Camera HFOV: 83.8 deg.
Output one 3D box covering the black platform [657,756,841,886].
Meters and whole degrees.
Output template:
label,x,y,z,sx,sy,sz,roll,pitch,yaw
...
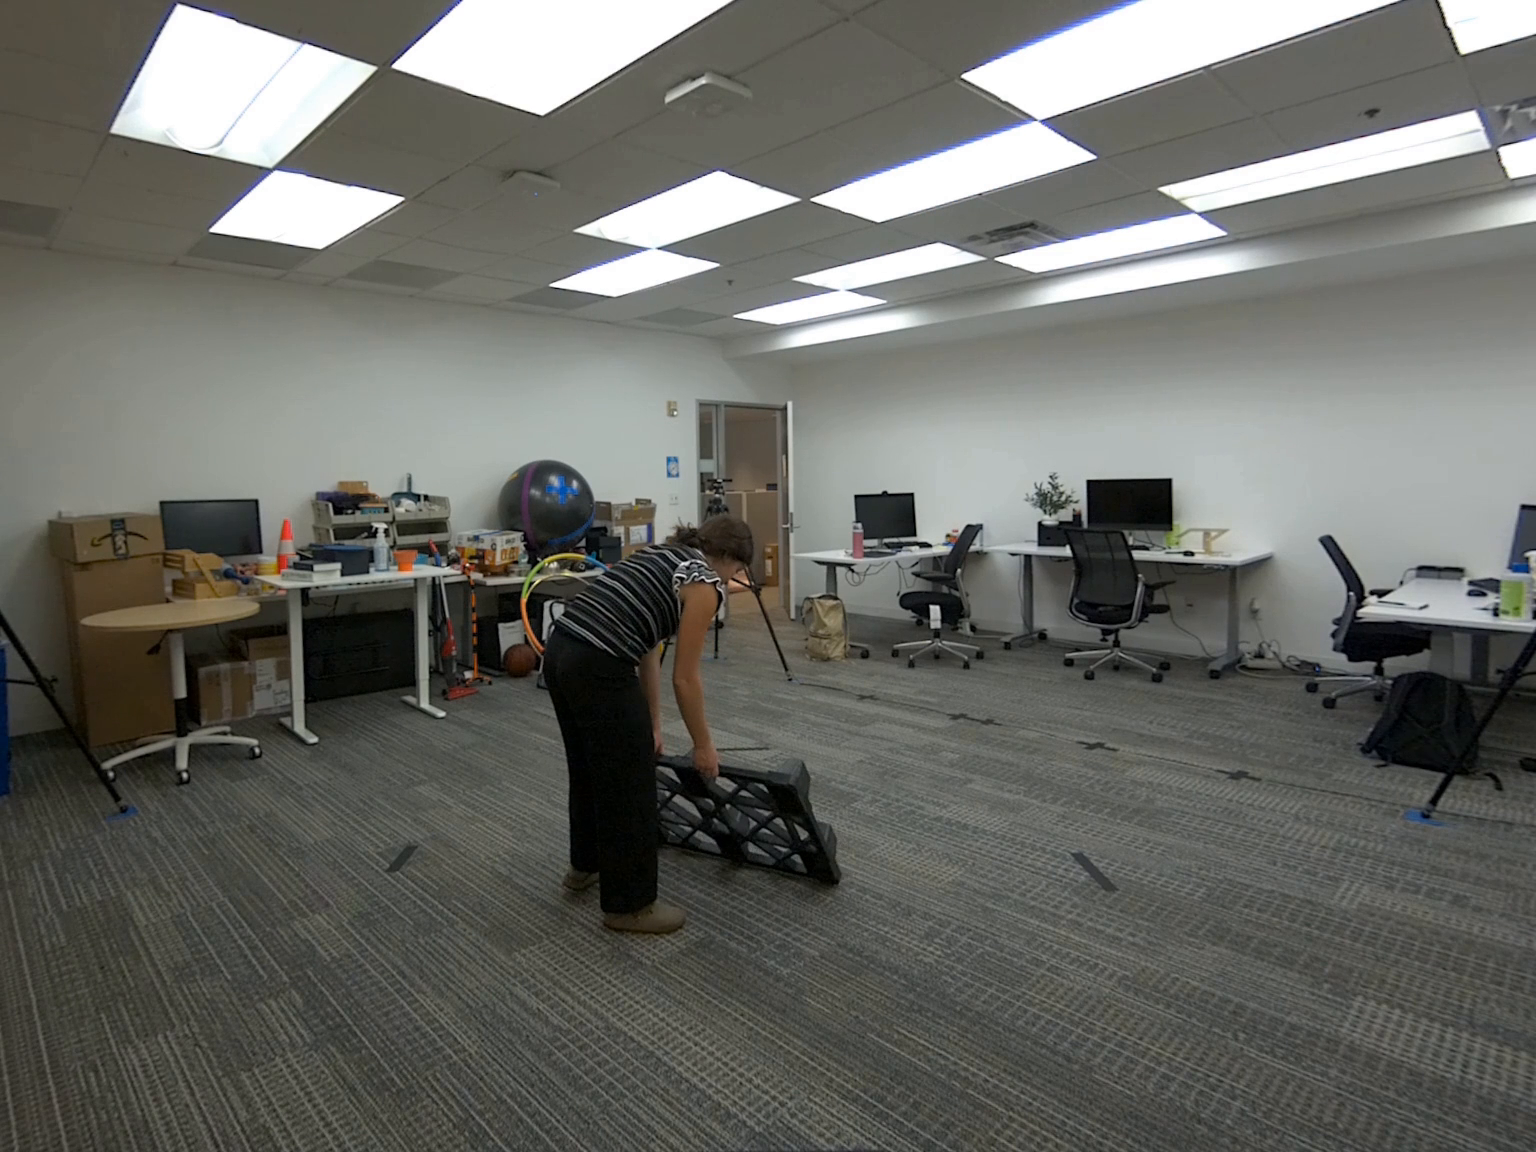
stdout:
label,x,y,z,sx,sy,sz,roll,pitch,yaw
black platform,-0.176,0.782,2.980,0.826,0.584,0.144,3,43,28
